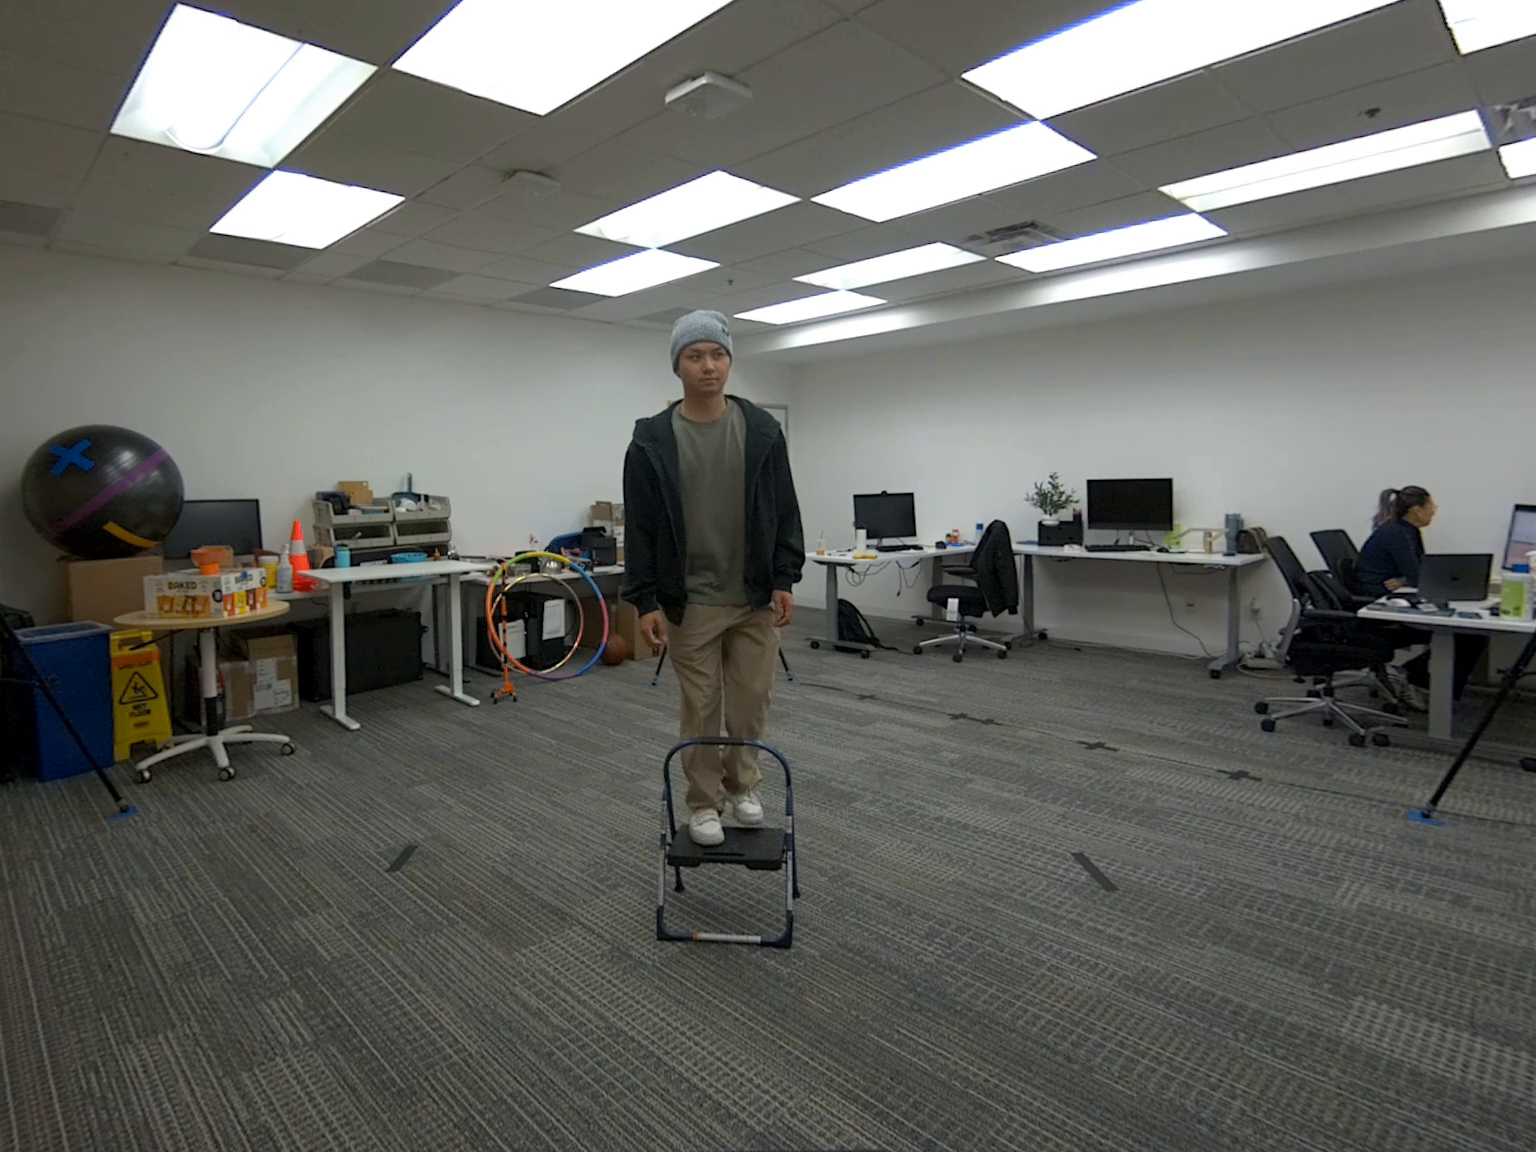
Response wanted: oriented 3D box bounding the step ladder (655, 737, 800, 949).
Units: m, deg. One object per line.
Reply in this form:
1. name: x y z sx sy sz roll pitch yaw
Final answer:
1. step ladder: -0.120 0.795 2.717 0.433 0.604 0.348 -1 4 6
